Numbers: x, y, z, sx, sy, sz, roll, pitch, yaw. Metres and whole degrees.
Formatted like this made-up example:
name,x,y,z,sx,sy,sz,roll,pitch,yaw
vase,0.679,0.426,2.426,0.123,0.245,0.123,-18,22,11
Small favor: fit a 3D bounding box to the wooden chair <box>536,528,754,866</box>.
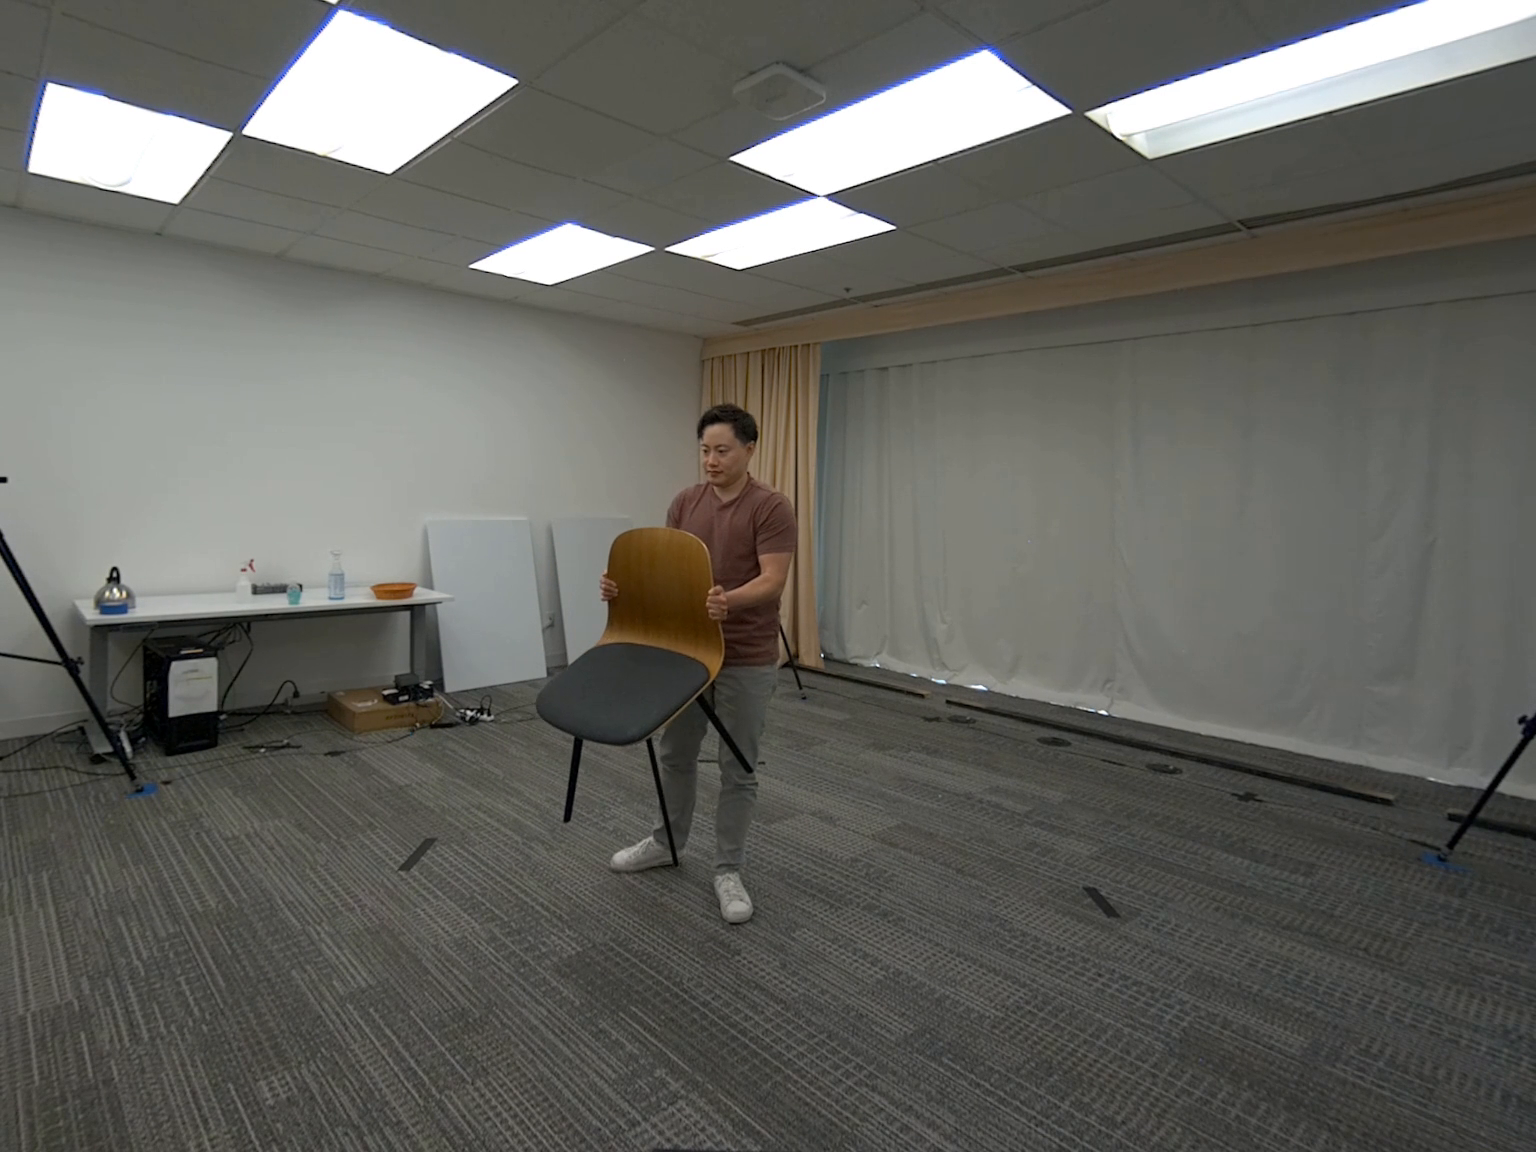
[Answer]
name,x,y,z,sx,sy,sz,roll,pitch,yaw
wooden chair,-0.412,0.354,2.565,0.490,0.863,0.519,10,26,31
